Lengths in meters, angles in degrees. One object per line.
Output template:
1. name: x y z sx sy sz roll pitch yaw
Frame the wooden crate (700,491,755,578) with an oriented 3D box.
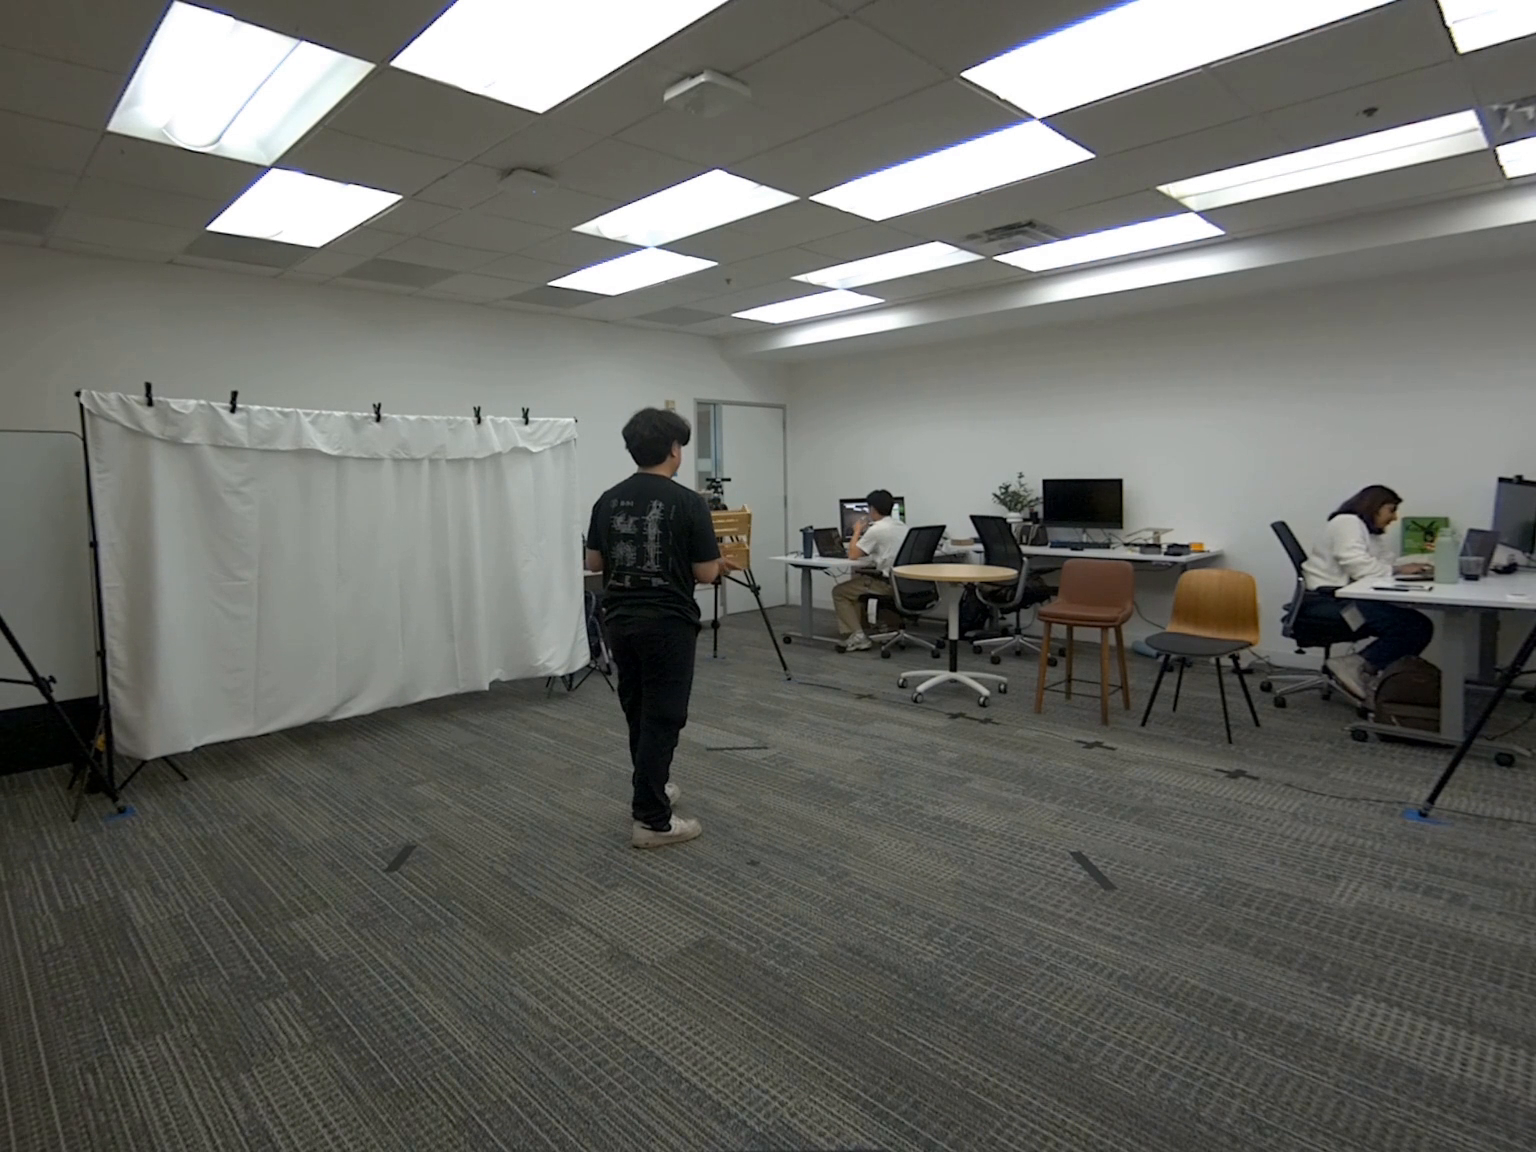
1. wooden crate: -0.240 -0.174 3.579 0.323 0.269 0.308 -4 19 -4
